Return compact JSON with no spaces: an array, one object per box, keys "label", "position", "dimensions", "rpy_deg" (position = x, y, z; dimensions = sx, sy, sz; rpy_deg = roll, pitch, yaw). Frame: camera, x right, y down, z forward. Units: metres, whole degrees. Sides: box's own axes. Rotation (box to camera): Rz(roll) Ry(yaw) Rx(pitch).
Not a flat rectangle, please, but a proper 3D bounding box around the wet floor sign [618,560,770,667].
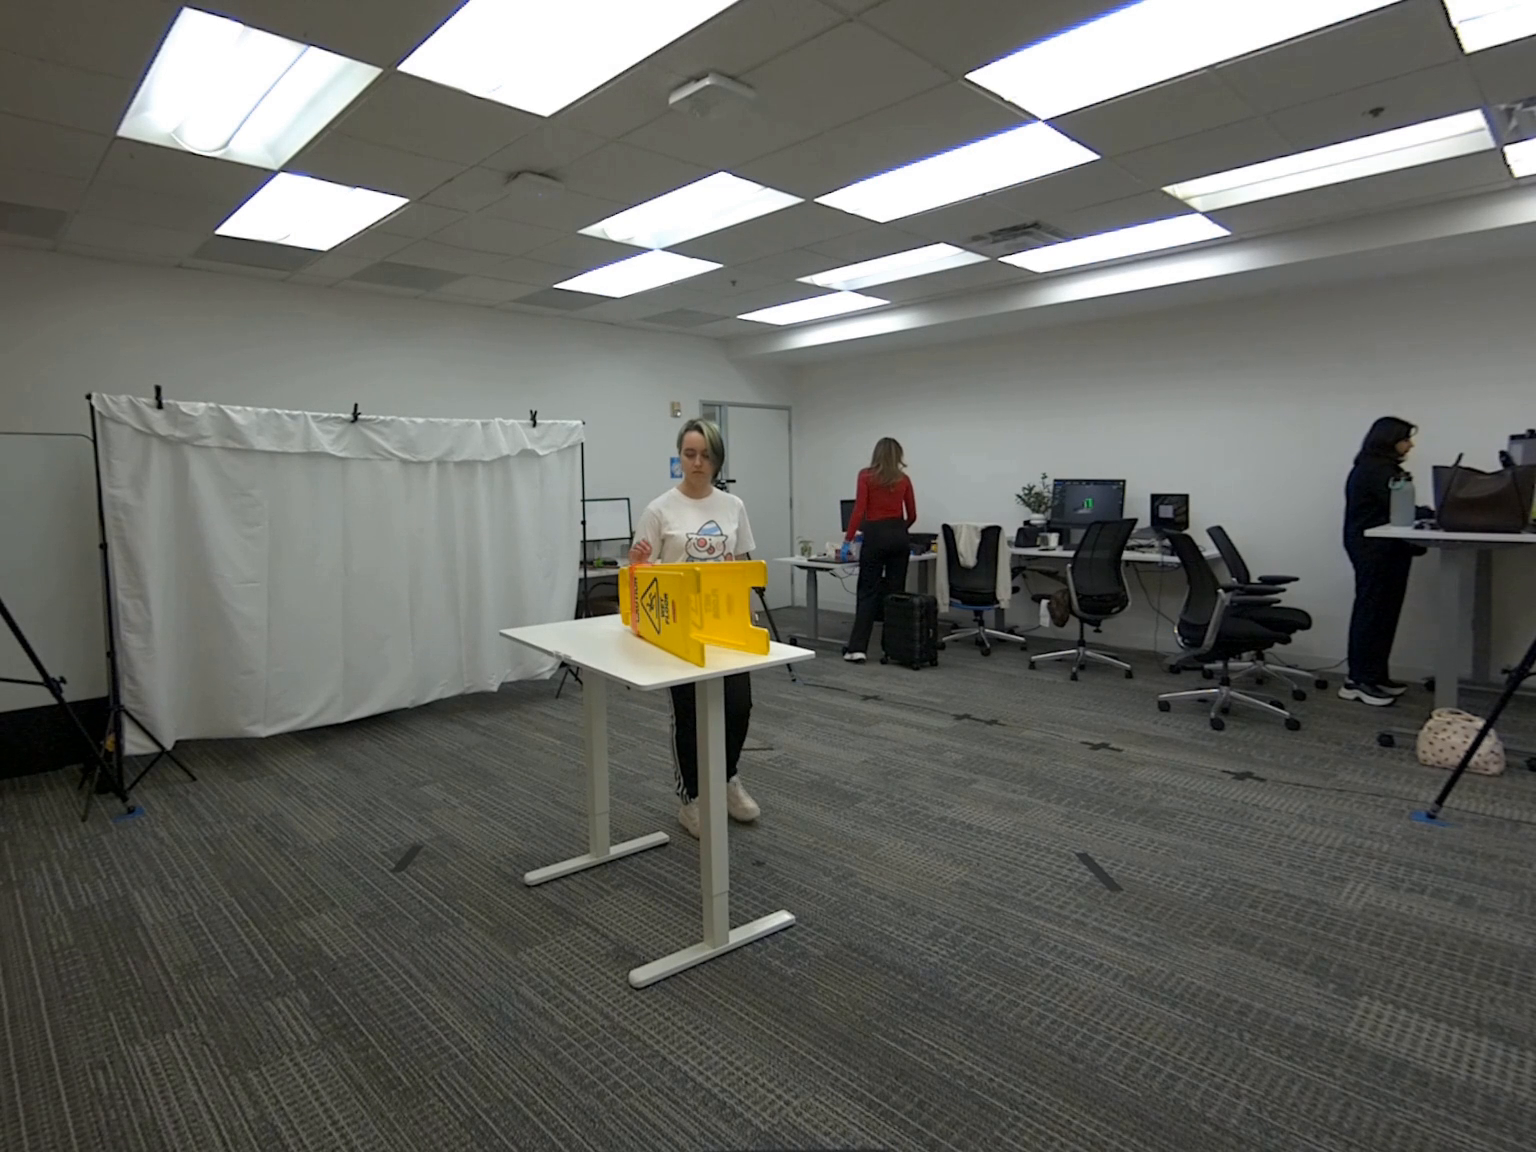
[{"label":"wet floor sign","position":[-0.300,0.092,2.700],"dimensions":[0.282,0.281,0.665],"rpy_deg":[-5,6,-38]}]
